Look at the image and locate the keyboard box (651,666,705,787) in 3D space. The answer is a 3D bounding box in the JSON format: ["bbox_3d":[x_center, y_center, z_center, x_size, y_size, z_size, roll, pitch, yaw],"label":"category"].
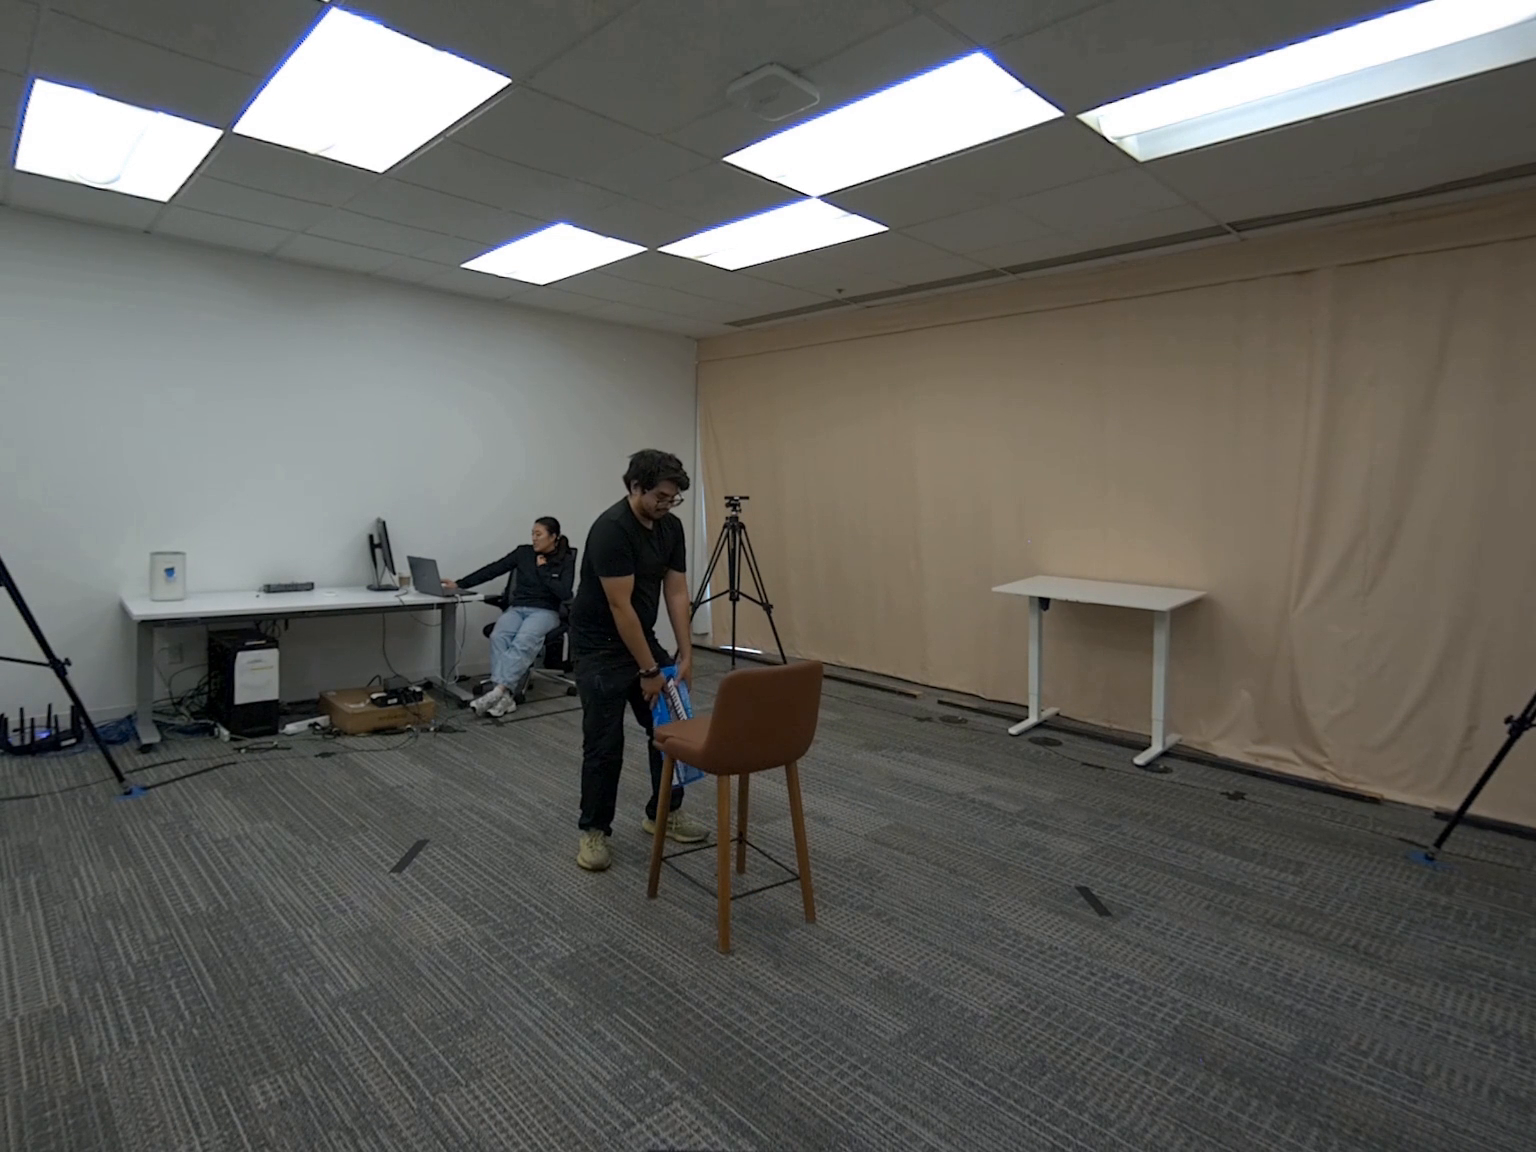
[{"bbox_3d":[-0.357,0.573,3.218,0.060,0.440,0.172,-19,-9,32],"label":"keyboard box"}]
